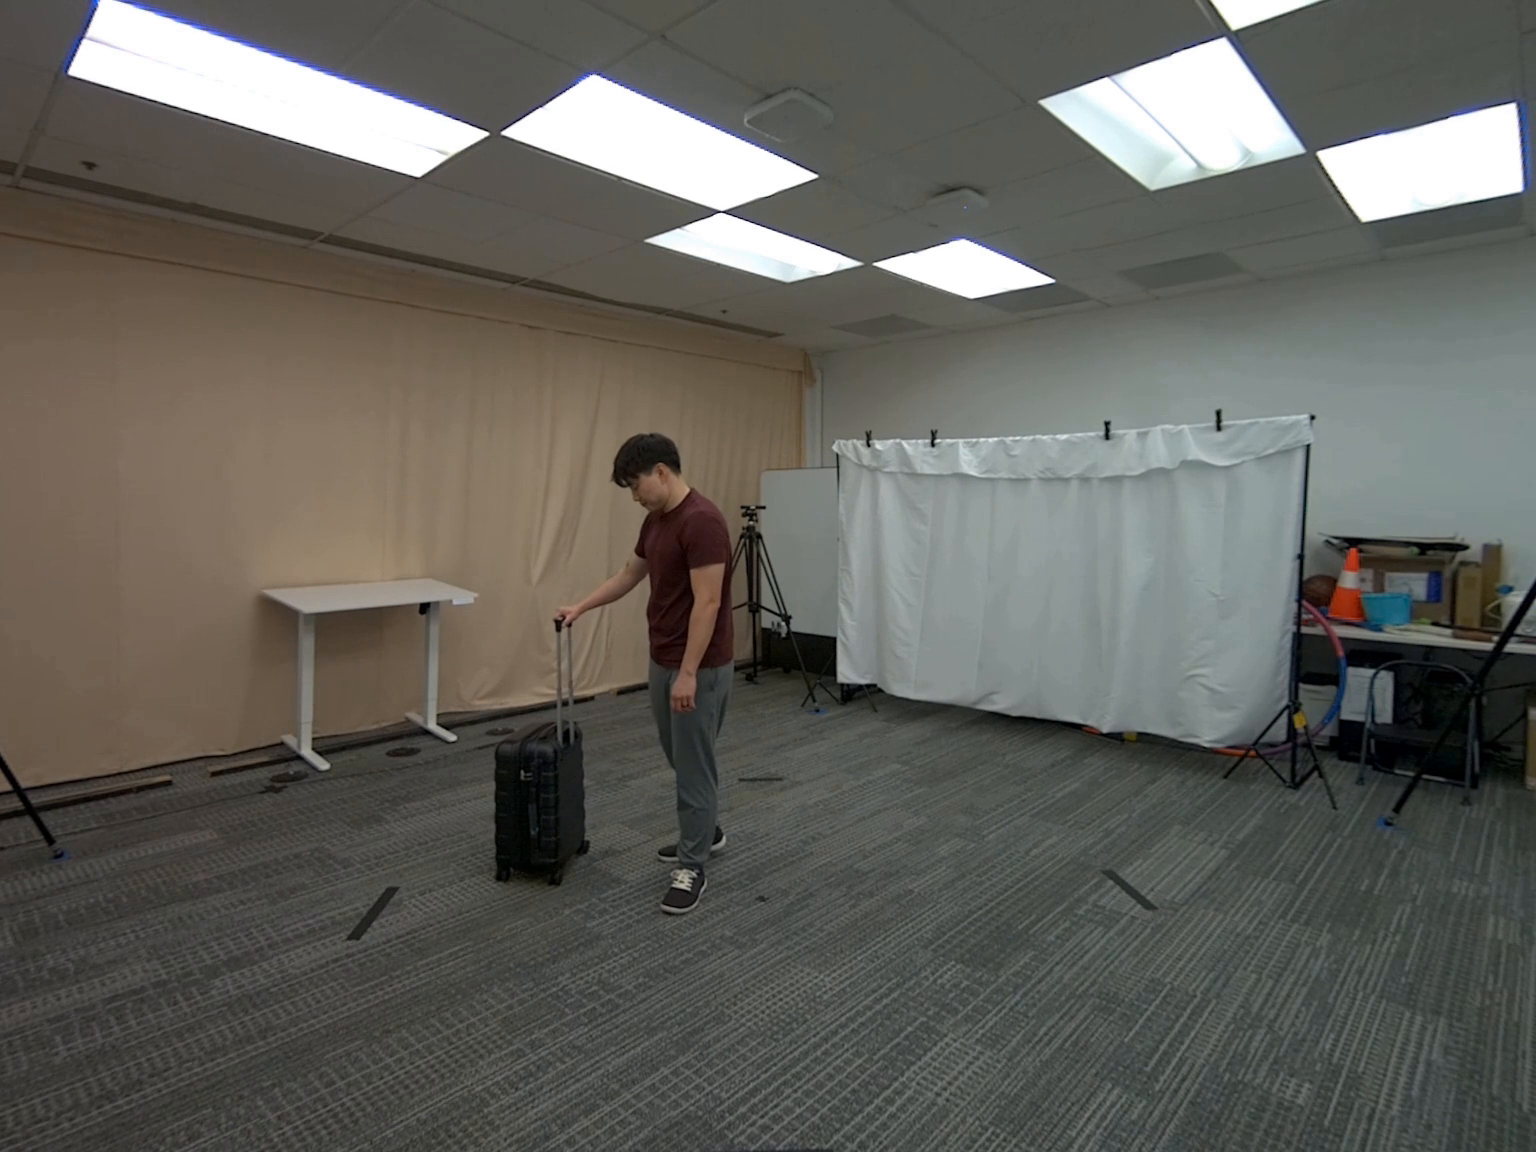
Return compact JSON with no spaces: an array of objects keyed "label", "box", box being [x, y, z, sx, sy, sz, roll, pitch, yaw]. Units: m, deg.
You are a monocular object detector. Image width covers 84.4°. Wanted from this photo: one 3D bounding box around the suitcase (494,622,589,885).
[{"label":"suitcase","box":[-0.882,0.654,3.238,0.259,0.976,0.381,-2,3,8]}]
